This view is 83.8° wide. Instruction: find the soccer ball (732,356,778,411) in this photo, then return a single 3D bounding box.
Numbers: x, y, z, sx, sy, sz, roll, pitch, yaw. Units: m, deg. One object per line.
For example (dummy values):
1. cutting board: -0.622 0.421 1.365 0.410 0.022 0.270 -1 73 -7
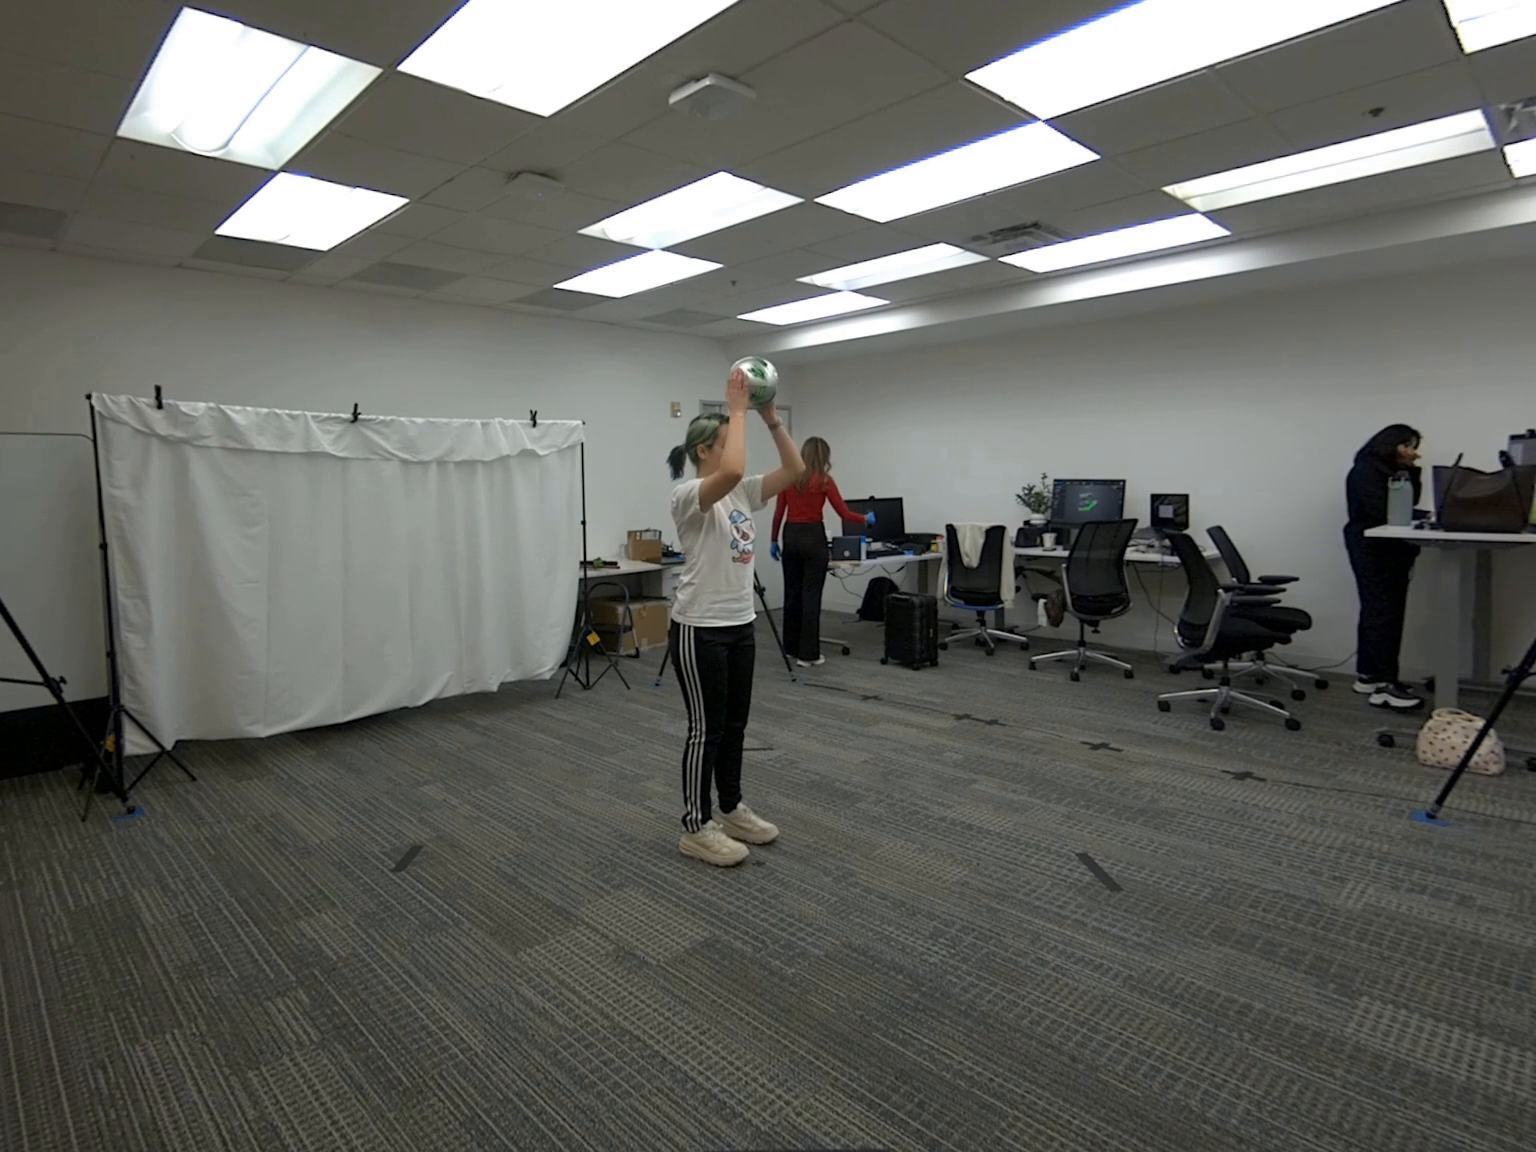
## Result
1. soccer ball: -0.044 -0.679 3.062 0.187 0.187 0.188 -1 5 -2
